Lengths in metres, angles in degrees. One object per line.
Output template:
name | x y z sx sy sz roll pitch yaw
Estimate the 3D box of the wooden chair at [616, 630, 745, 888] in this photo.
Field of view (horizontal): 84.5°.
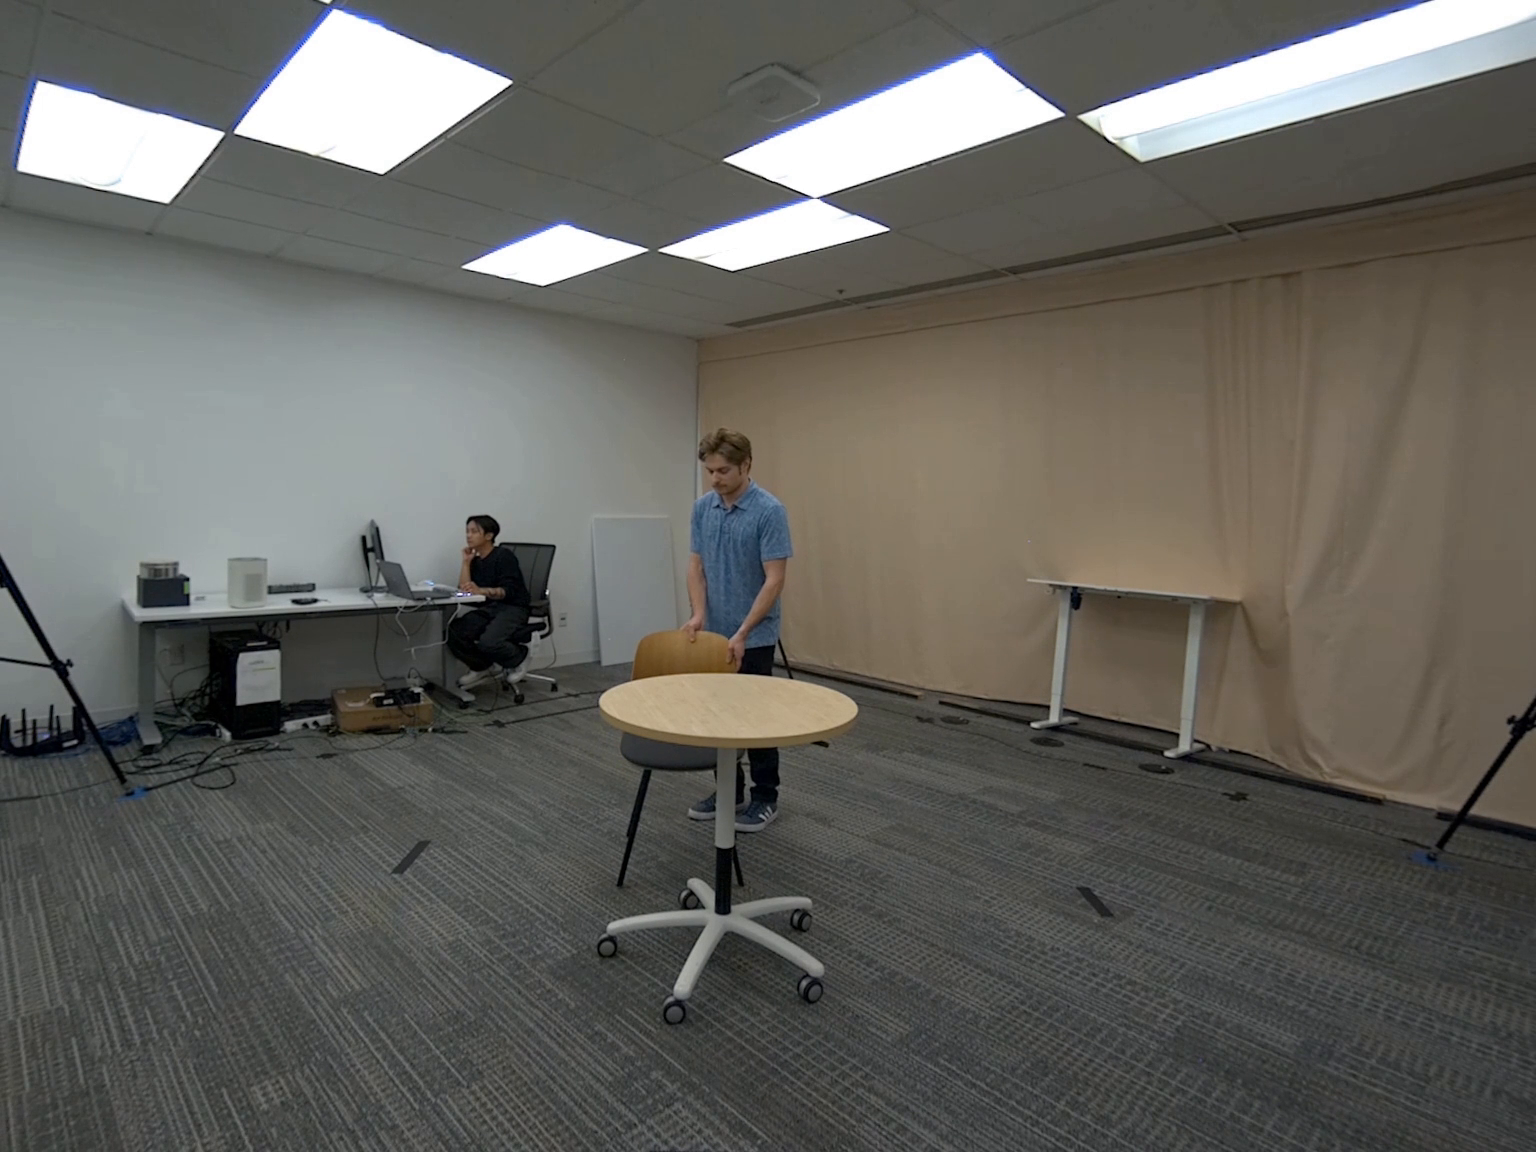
wooden chair | -0.325 0.670 3.190 0.476 0.878 0.525 2 0 -6
